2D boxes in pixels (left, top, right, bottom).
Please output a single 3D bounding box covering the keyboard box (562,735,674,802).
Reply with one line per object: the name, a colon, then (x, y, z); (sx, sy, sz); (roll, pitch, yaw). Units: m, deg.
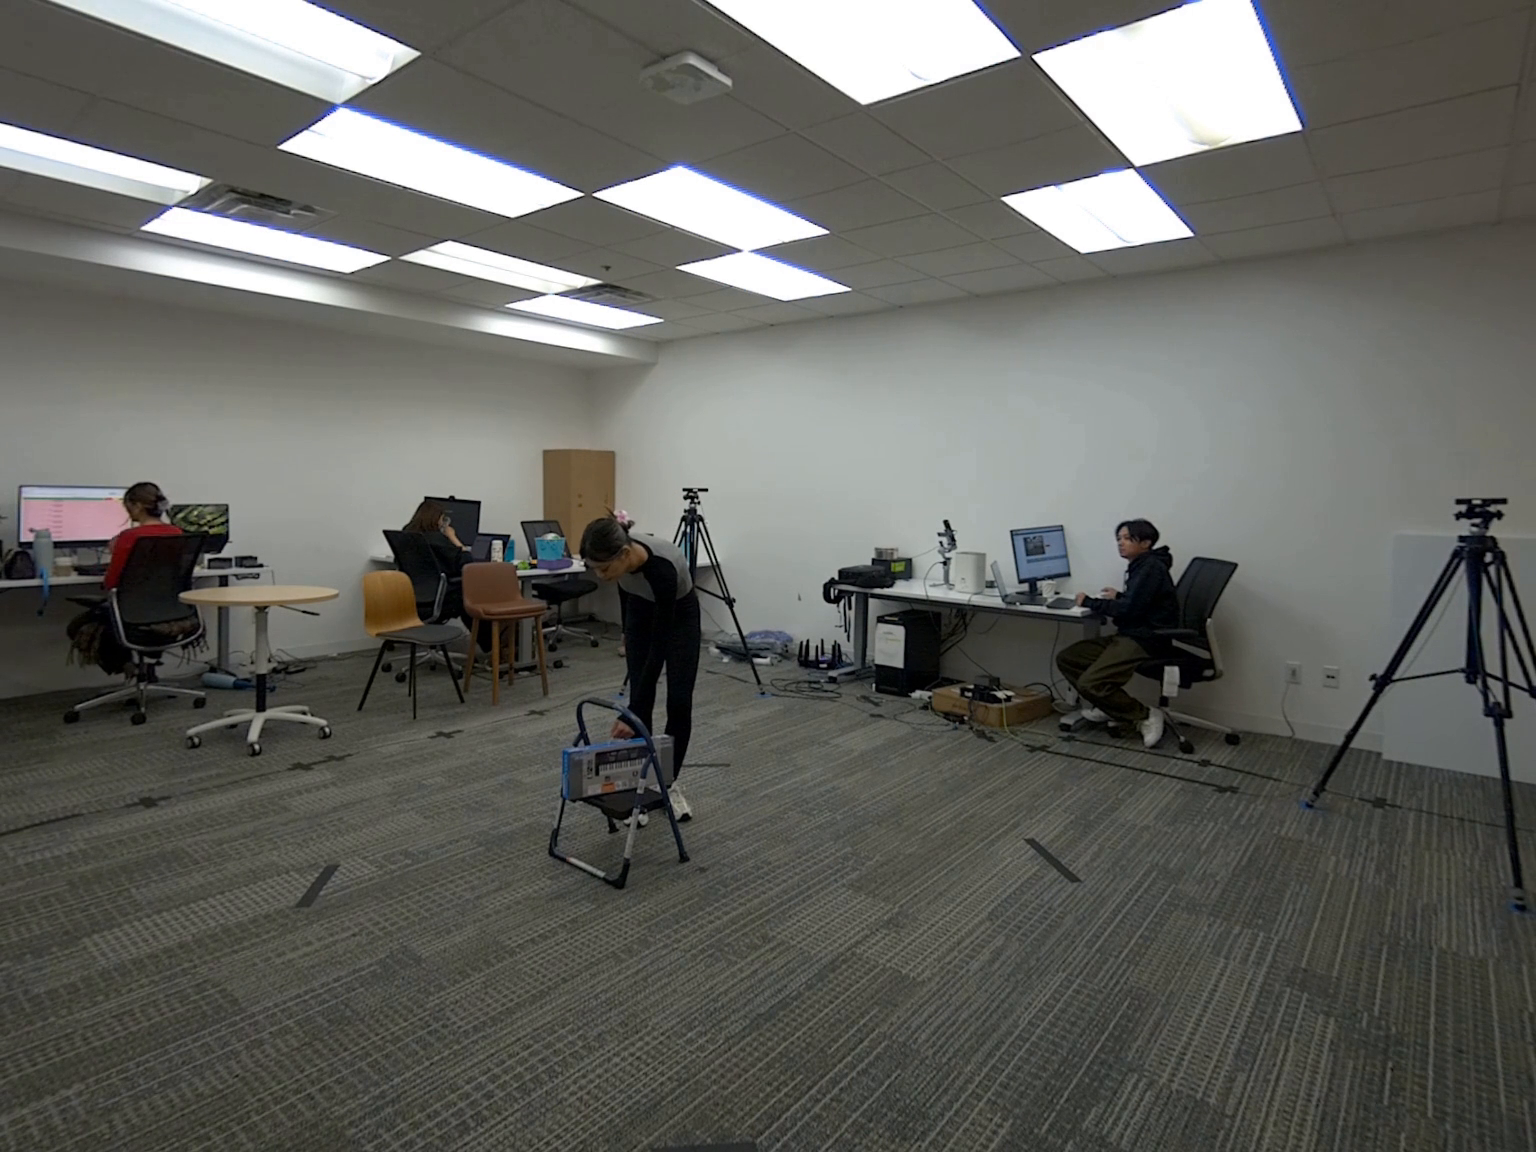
keyboard box: (-0.570, 0.707, 3.175); (0.424, 0.176, 0.061); (-1, 0, -33)
